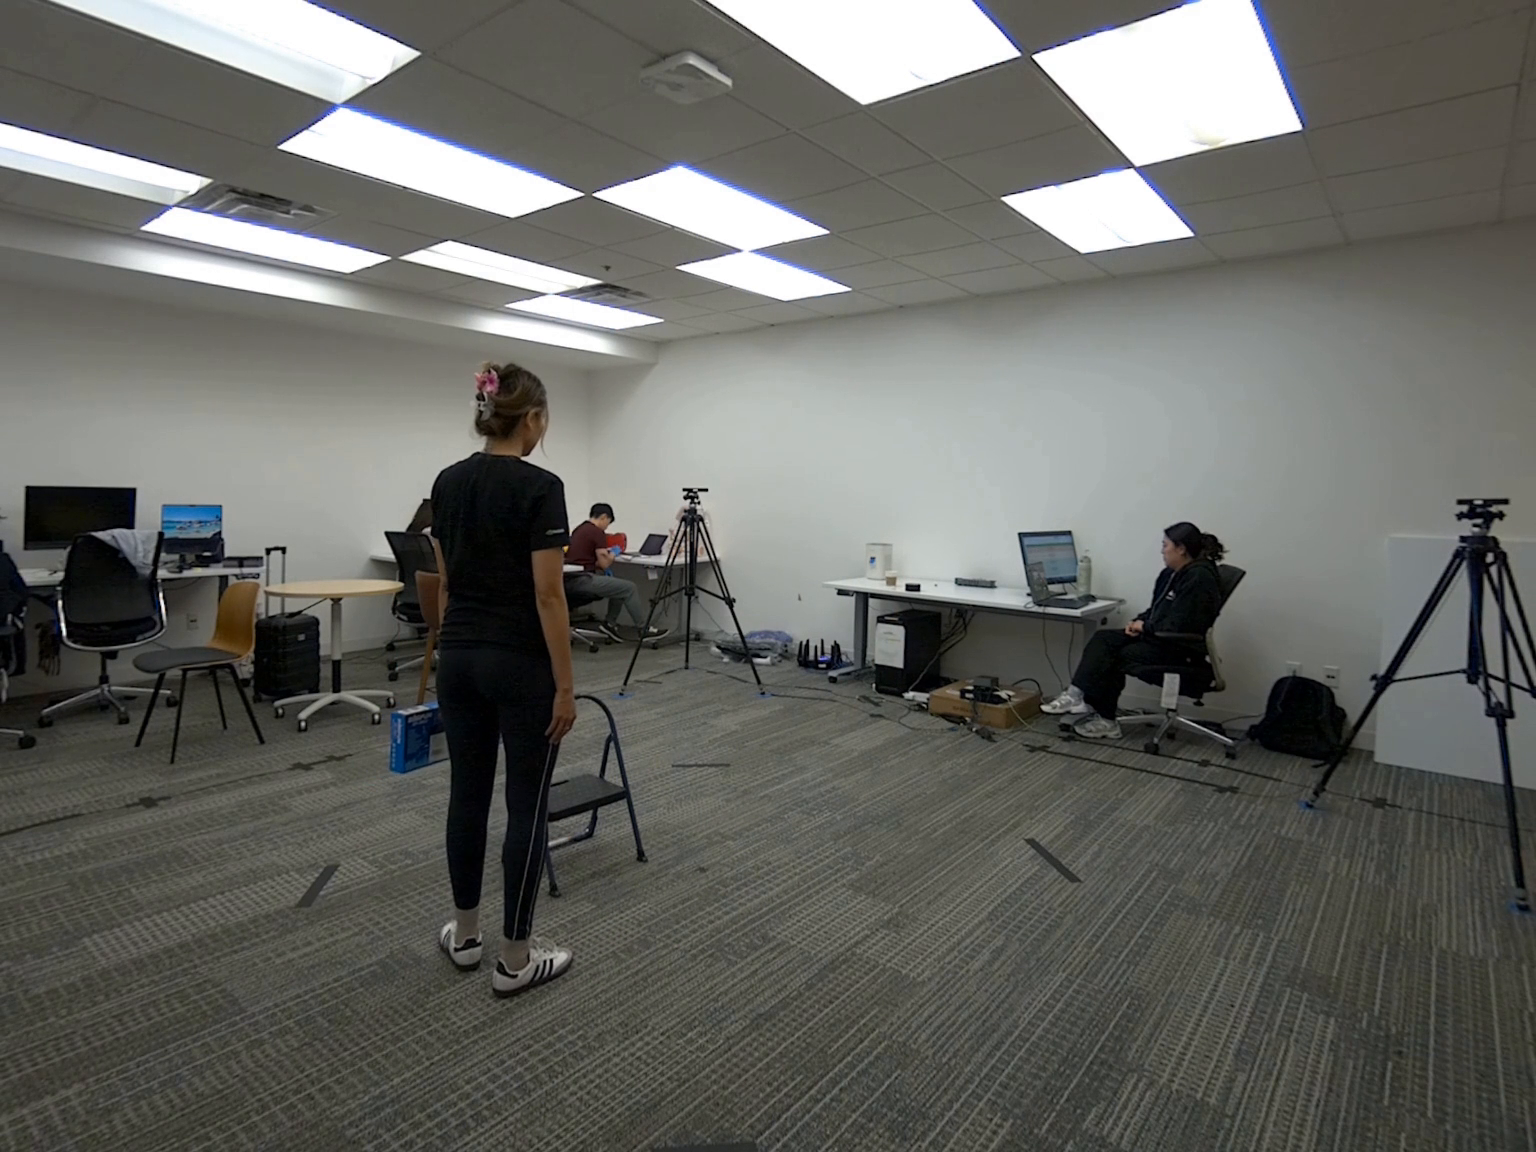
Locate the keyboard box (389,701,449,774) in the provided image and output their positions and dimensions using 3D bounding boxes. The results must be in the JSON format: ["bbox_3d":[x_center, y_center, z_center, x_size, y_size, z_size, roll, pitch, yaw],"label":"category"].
[{"bbox_3d":[-0.986,0.471,2.639,0.061,0.175,0.426,4,4,26],"label":"keyboard box"}]
